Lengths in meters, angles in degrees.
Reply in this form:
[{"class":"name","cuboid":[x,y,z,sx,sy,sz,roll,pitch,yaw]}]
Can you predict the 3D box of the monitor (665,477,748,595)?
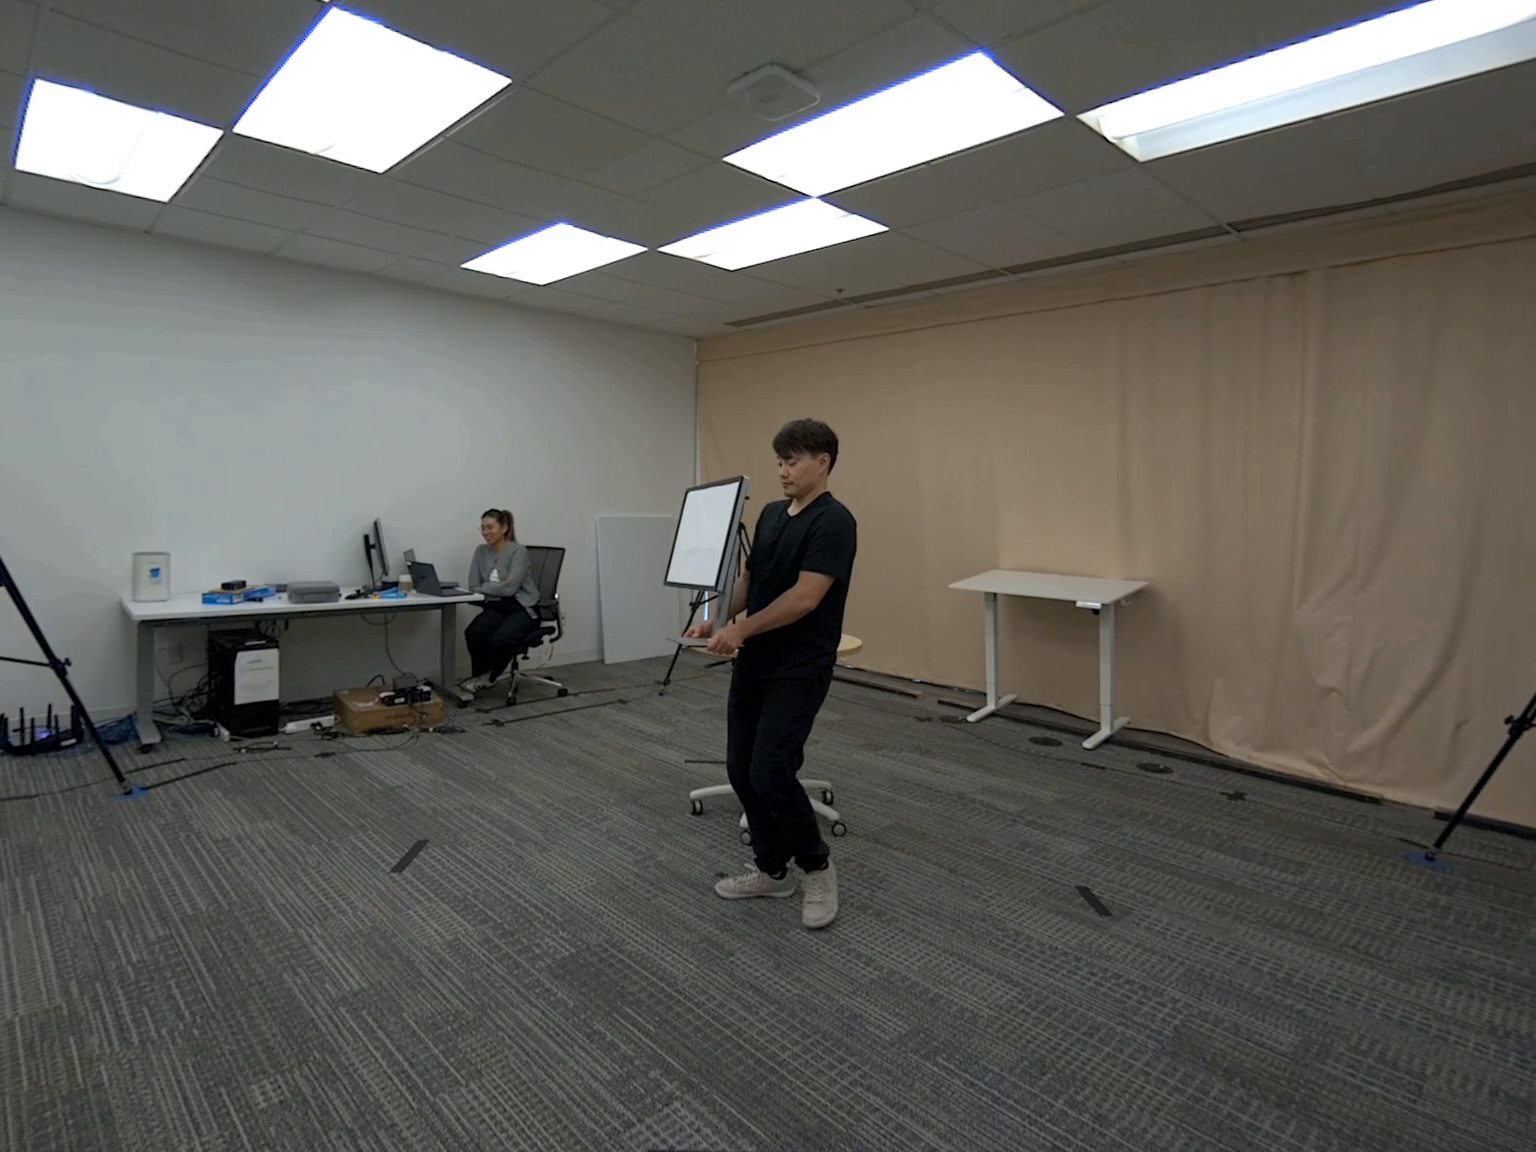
[{"class":"monitor","cuboid":[-0.192,-0.038,2.794,0.183,0.523,0.548,4,-1,-25]}]
